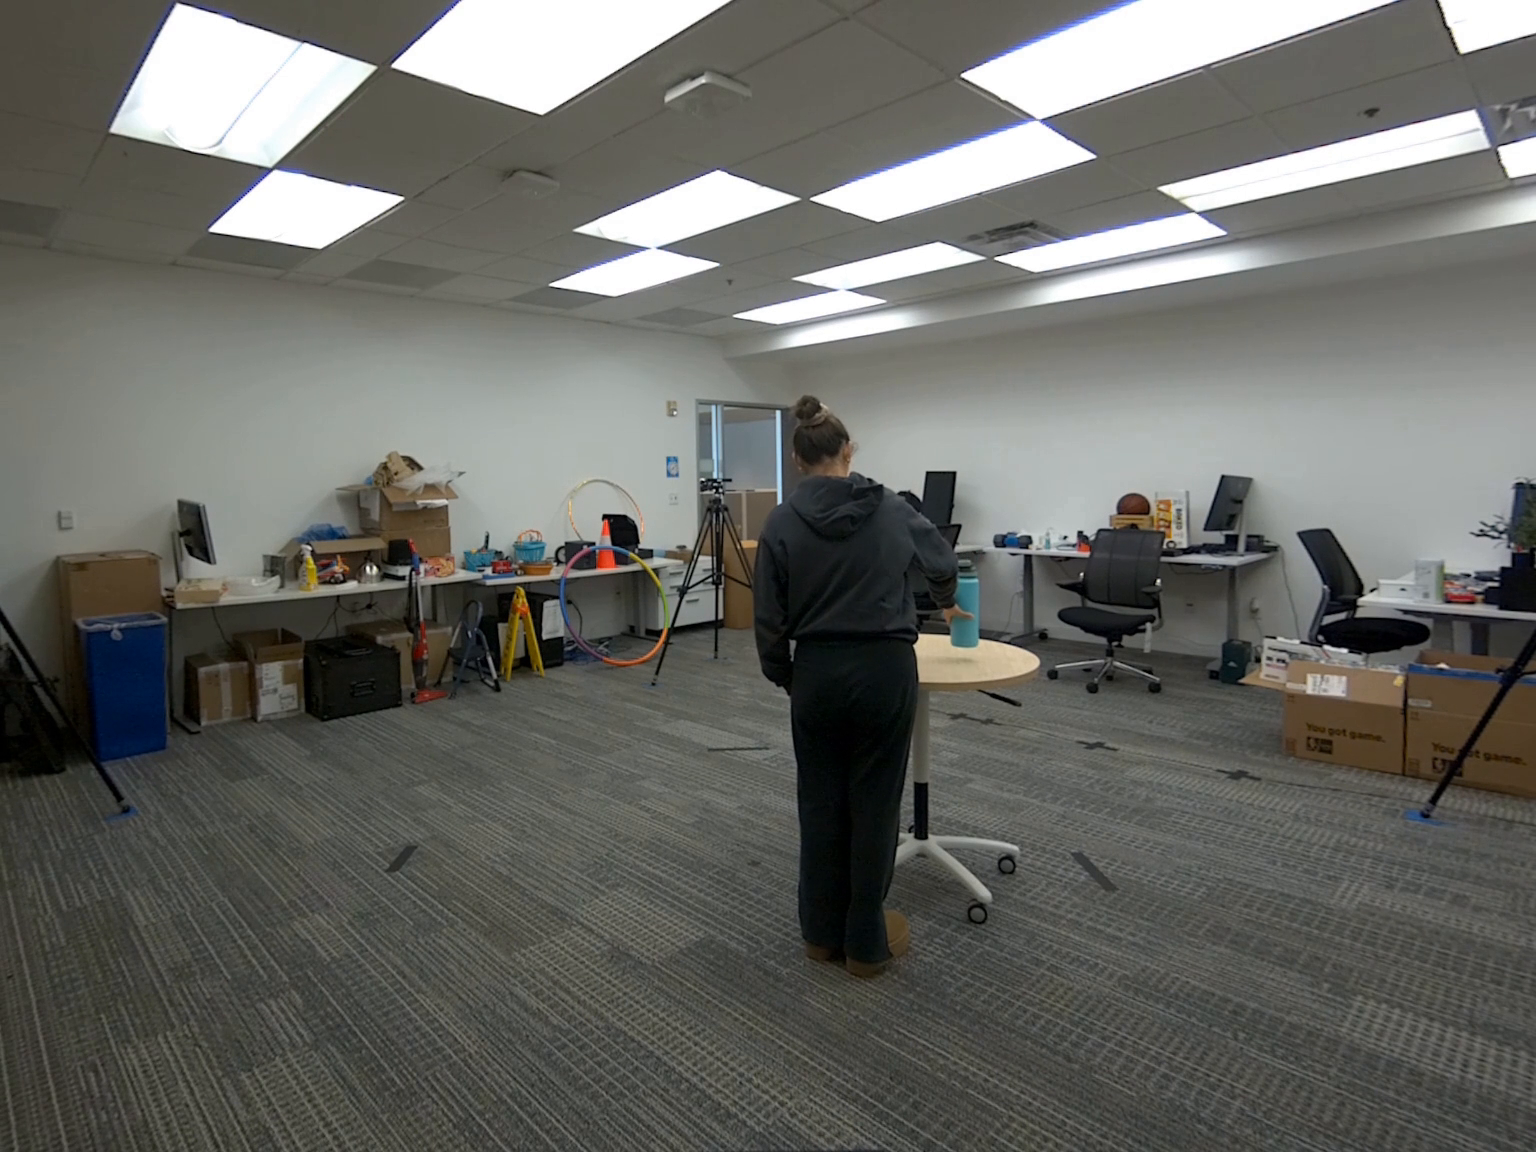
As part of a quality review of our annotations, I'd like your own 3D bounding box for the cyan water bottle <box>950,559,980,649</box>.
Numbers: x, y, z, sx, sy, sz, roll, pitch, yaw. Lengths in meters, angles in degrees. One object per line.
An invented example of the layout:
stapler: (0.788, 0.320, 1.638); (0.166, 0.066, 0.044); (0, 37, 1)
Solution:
cyan water bottle: (0.659, 0.089, 2.823); (0.092, 0.283, 0.092); (-1, 2, -2)
